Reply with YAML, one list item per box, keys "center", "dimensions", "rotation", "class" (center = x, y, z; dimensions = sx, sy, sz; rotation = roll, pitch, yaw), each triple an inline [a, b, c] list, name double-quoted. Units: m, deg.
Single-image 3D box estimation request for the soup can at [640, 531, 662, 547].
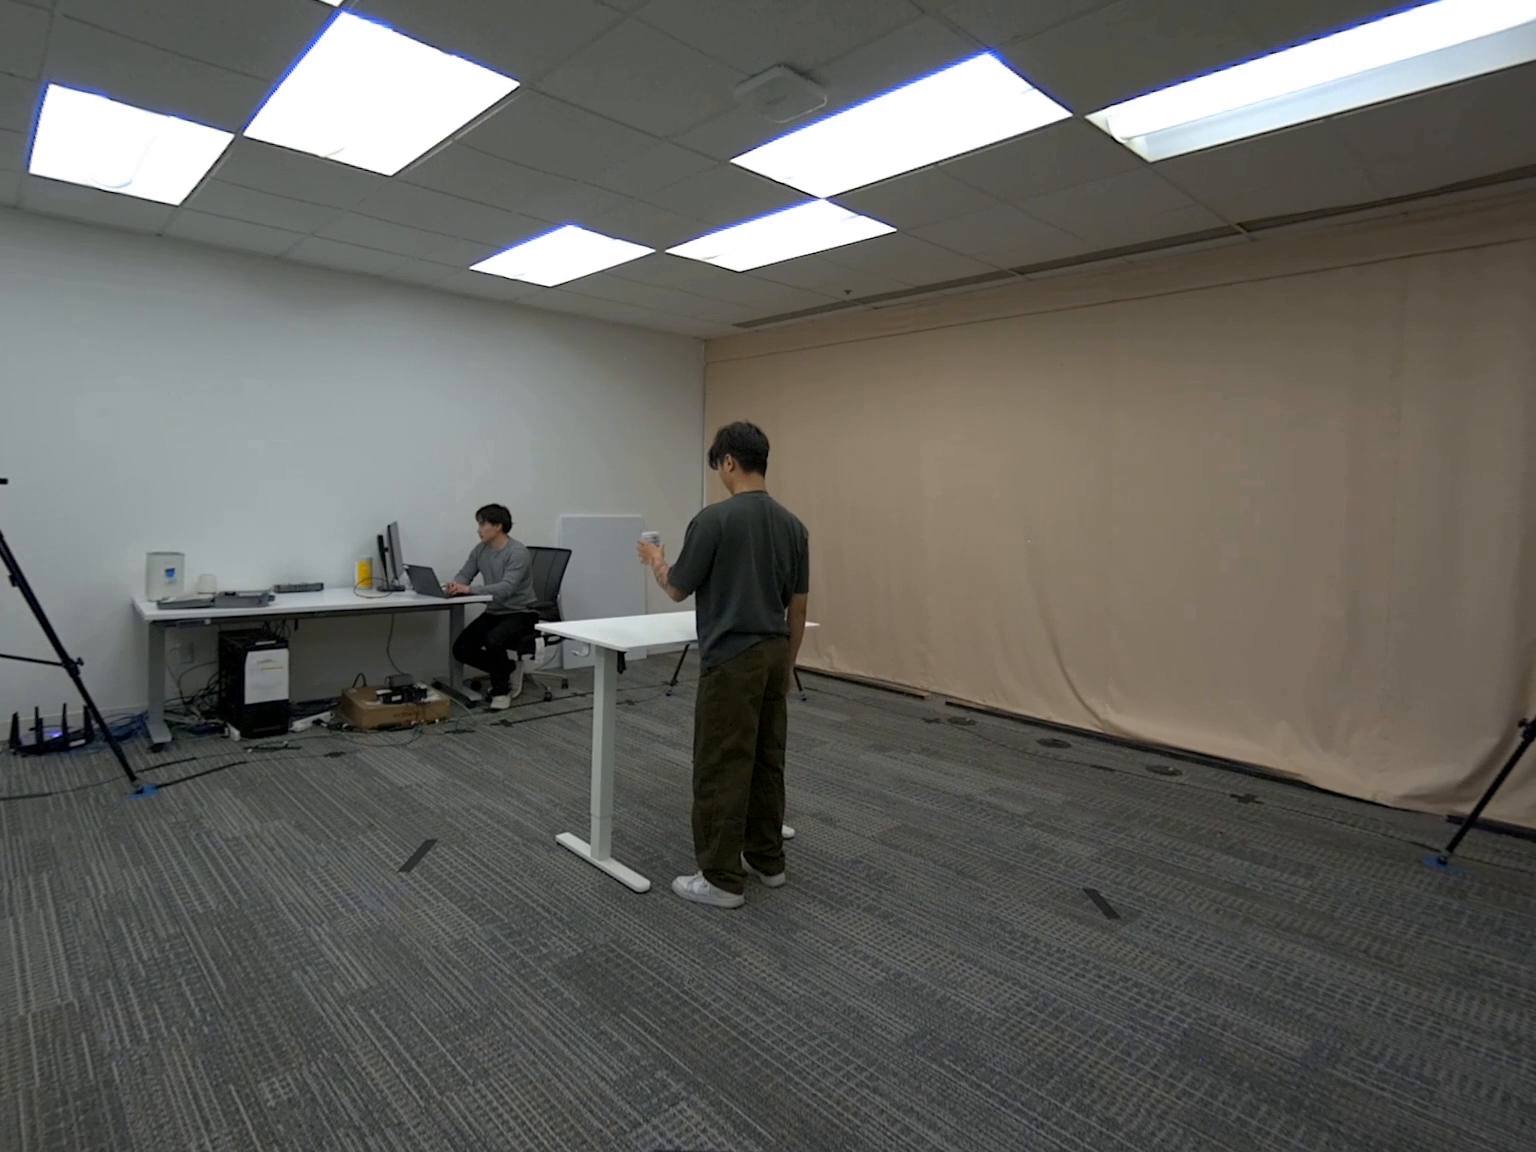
- center: [-0.439, -0.110, 3.205]
  dimensions: [0.067, 0.121, 0.067]
  rotation: [-4, 2, -1]
  class: "soup can"
